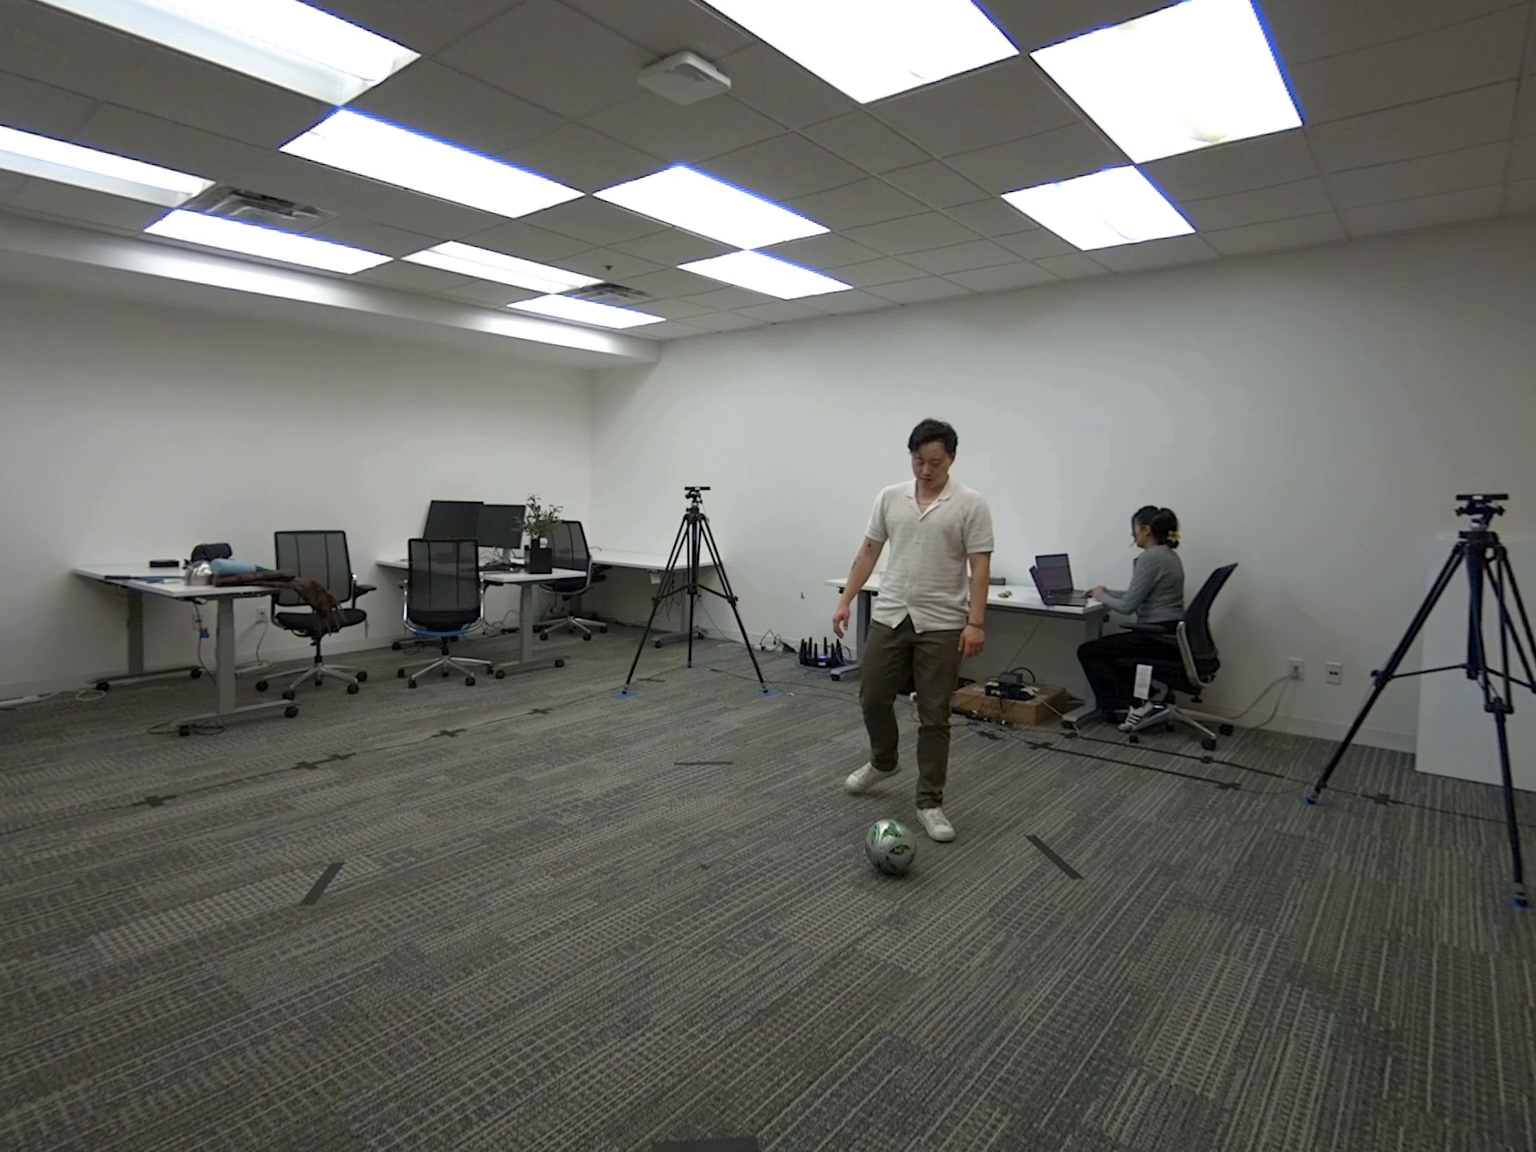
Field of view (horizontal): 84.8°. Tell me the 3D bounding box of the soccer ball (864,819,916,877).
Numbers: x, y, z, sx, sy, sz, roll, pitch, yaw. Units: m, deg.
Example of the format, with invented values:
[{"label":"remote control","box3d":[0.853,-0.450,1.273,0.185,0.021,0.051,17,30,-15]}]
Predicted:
[{"label":"soccer ball","box3d":[0.446,0.983,3.112,0.187,0.187,0.188,1,4,-2]}]
